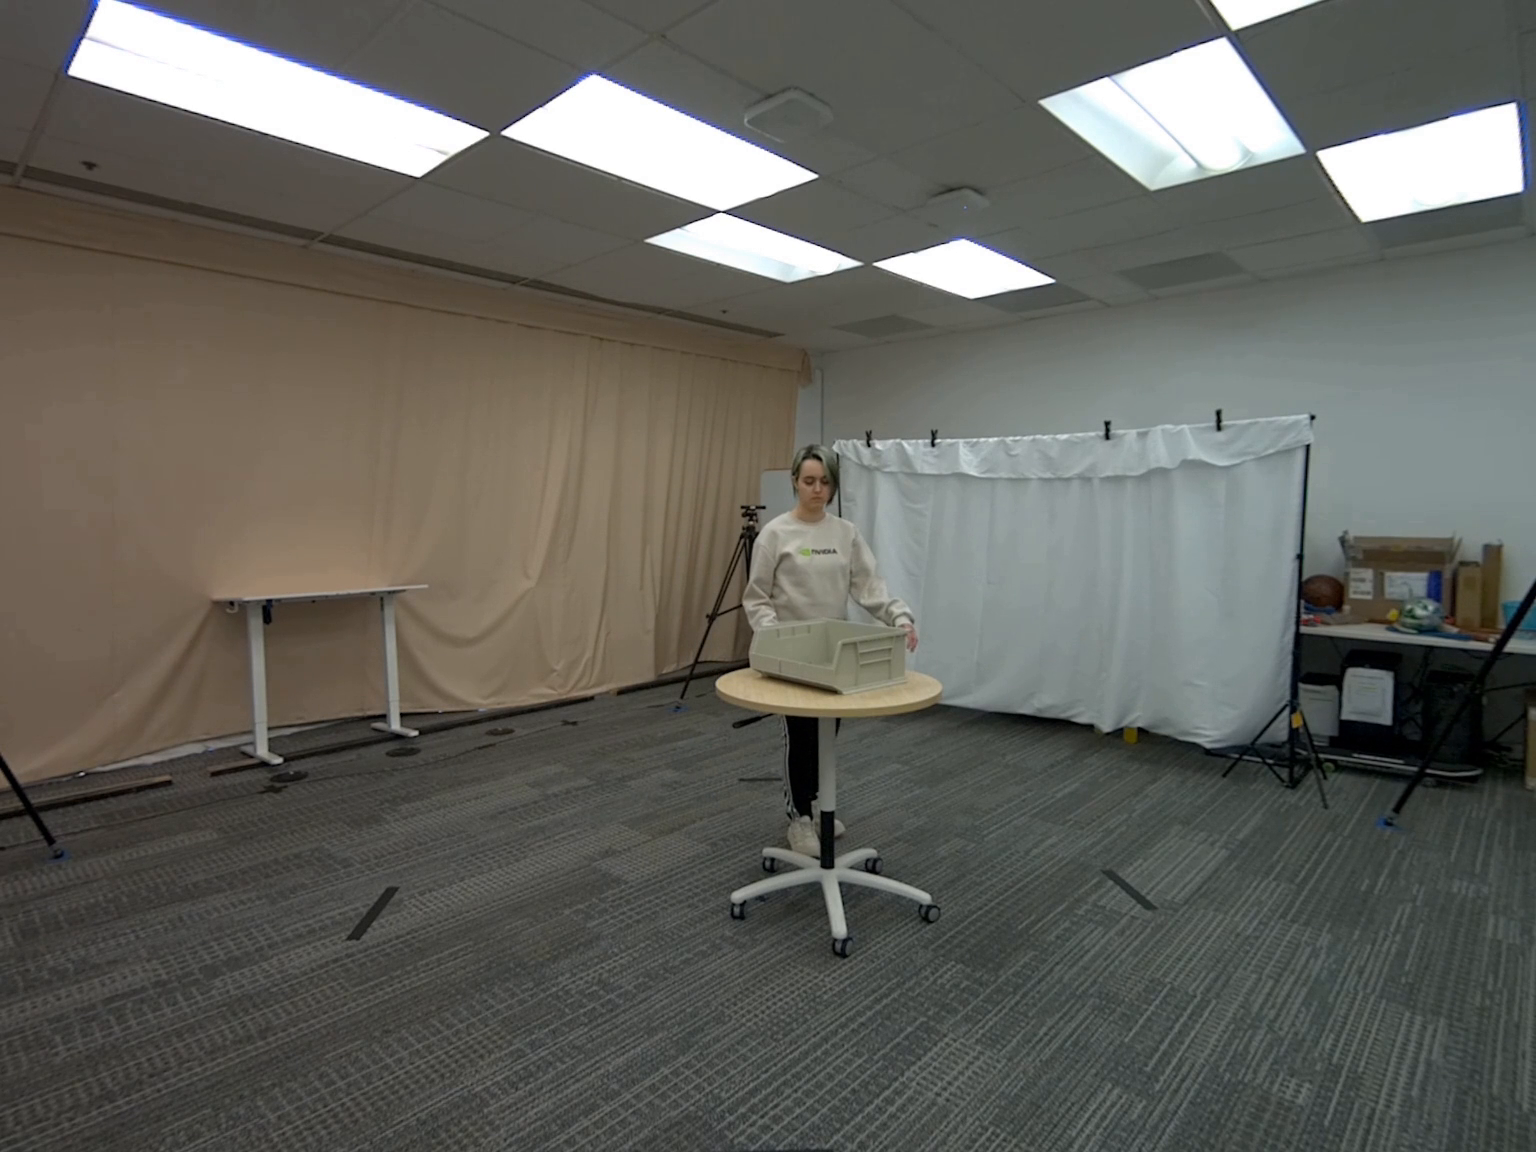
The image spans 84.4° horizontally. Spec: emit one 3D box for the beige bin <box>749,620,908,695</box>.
[{"bbox_3d":[0.209,0.274,2.932,0.366,0.189,0.436,-2,4,-39],"label":"beige bin"}]
